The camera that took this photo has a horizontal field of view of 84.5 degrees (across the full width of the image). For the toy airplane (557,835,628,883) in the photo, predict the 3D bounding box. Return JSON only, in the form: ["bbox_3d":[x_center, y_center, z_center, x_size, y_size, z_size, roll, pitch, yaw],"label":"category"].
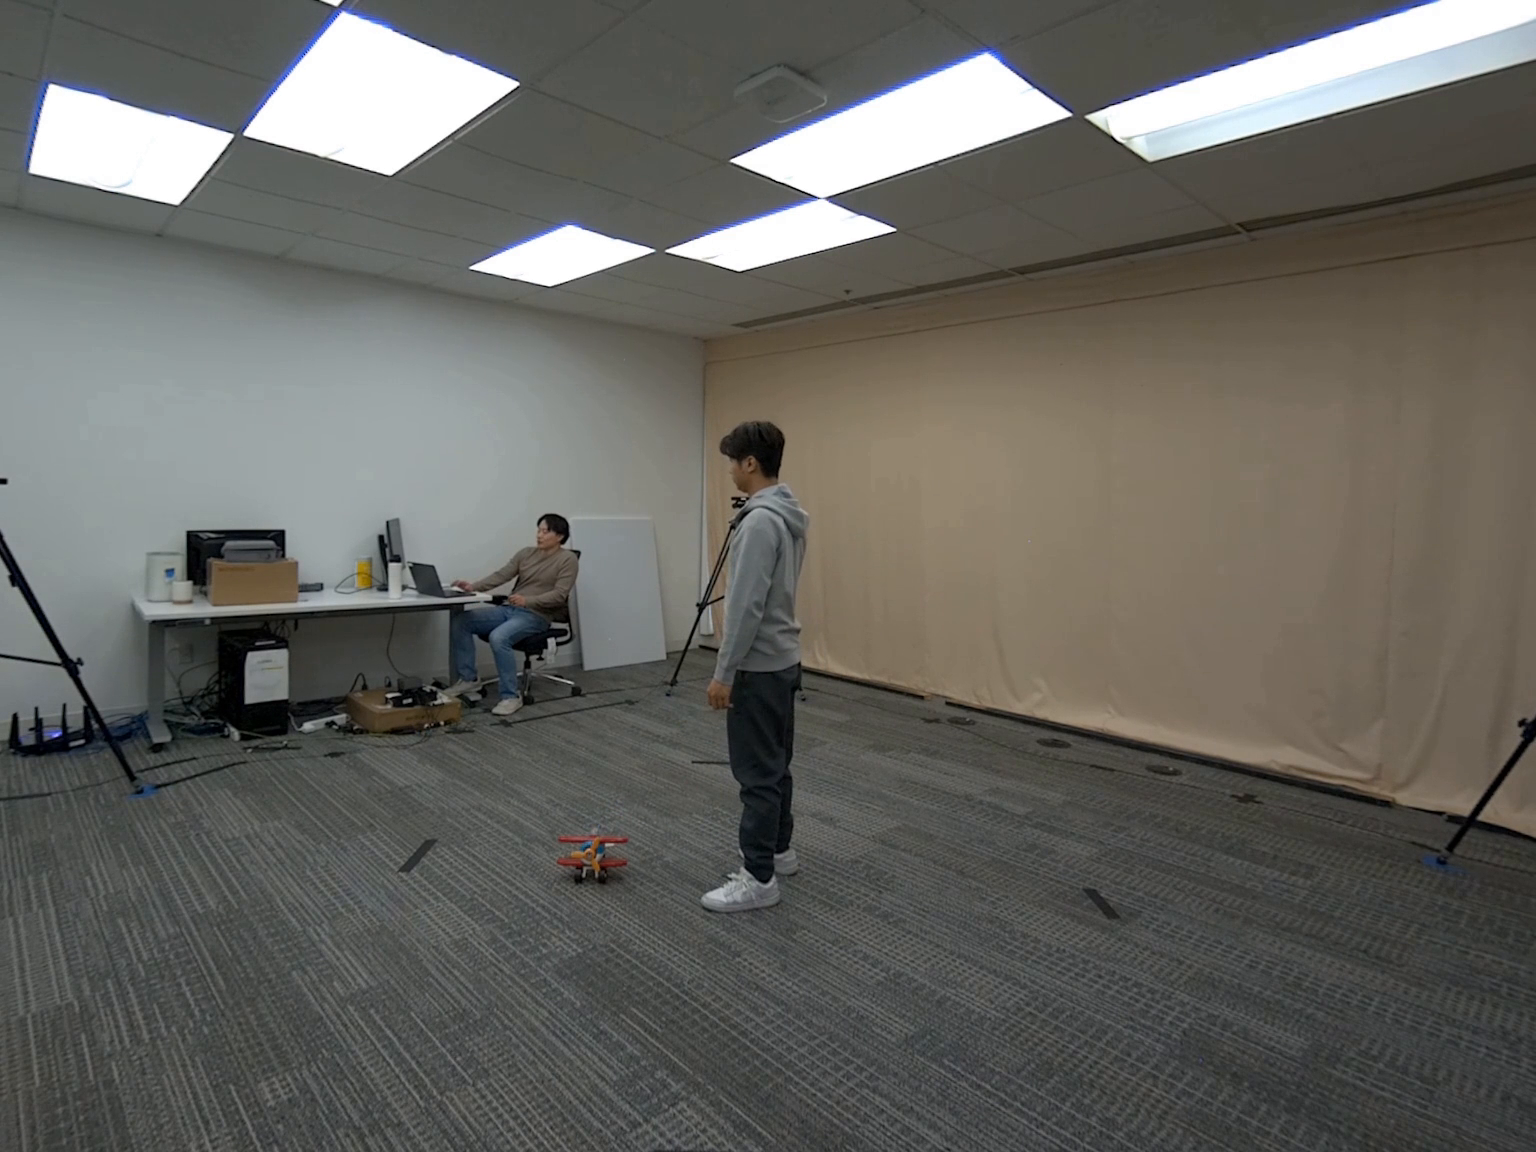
[{"bbox_3d":[-0.674,1.028,3.110,0.246,0.156,0.265,-2,5,-27],"label":"toy airplane"}]
